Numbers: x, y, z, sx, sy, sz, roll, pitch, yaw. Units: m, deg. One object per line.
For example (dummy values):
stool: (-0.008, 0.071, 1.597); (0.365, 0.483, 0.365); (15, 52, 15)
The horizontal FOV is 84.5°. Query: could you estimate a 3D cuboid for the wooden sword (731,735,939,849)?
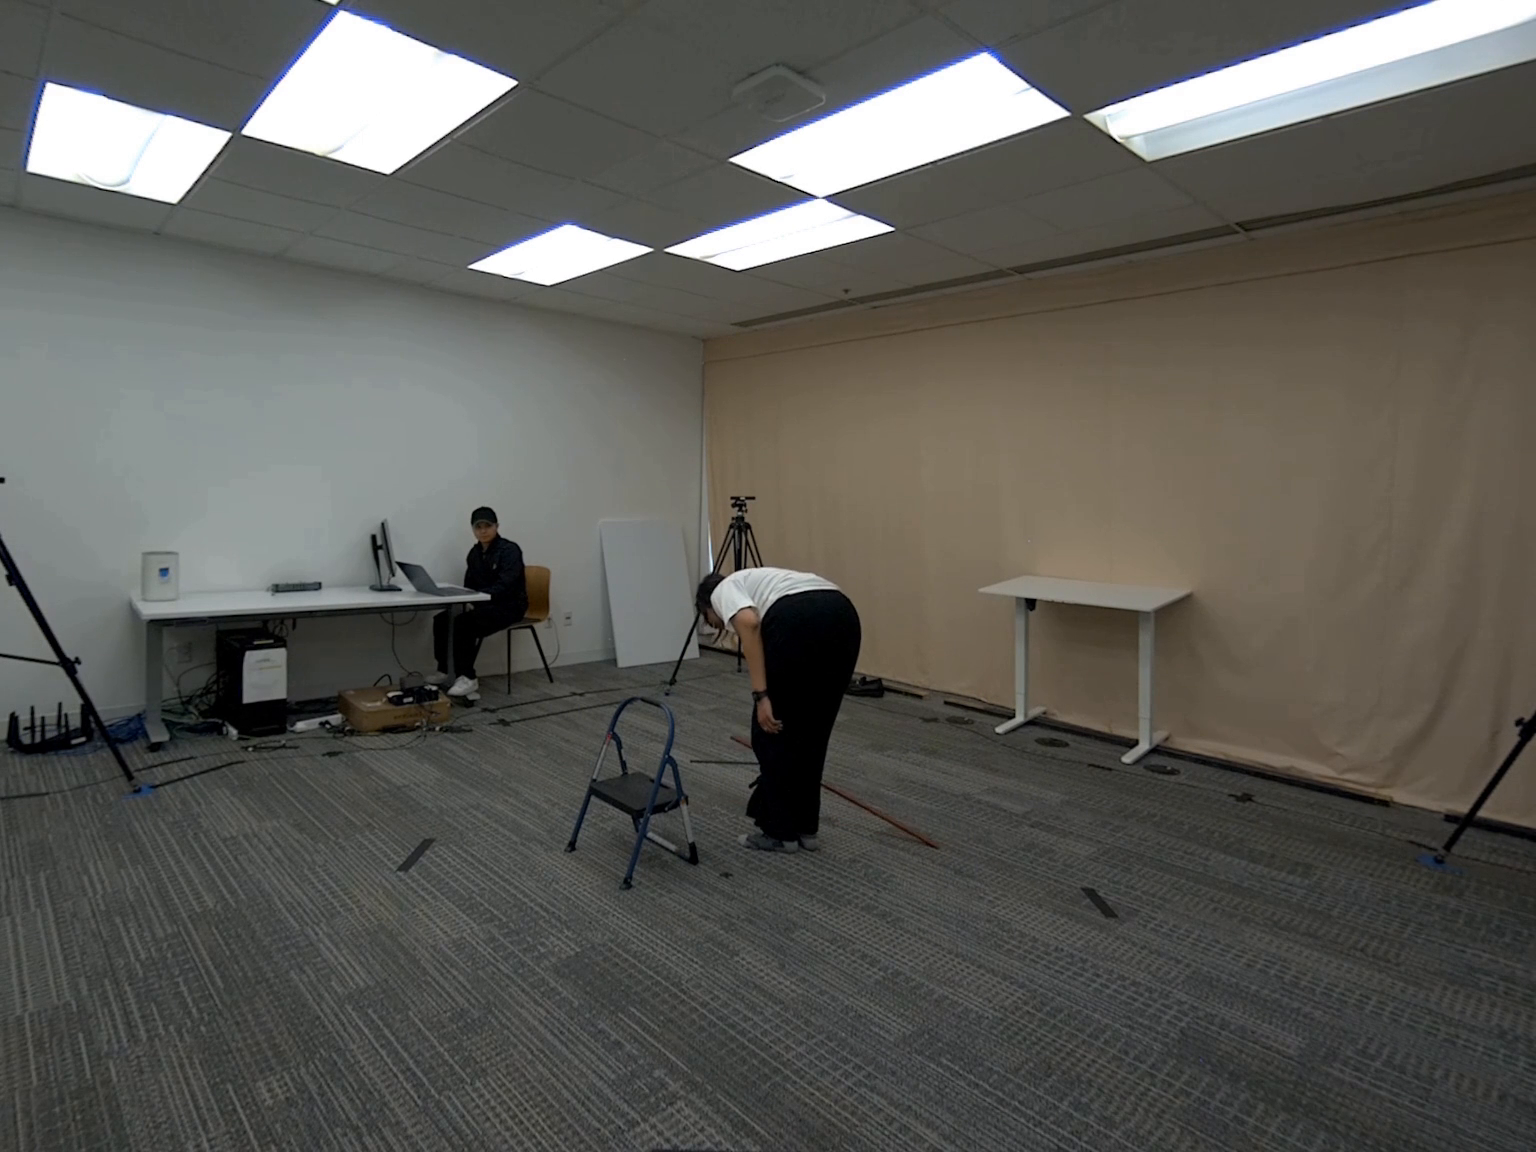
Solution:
wooden sword: (0.253, 0.929, 3.655); (1.052, 0.024, 0.050); (21, 9, 30)
